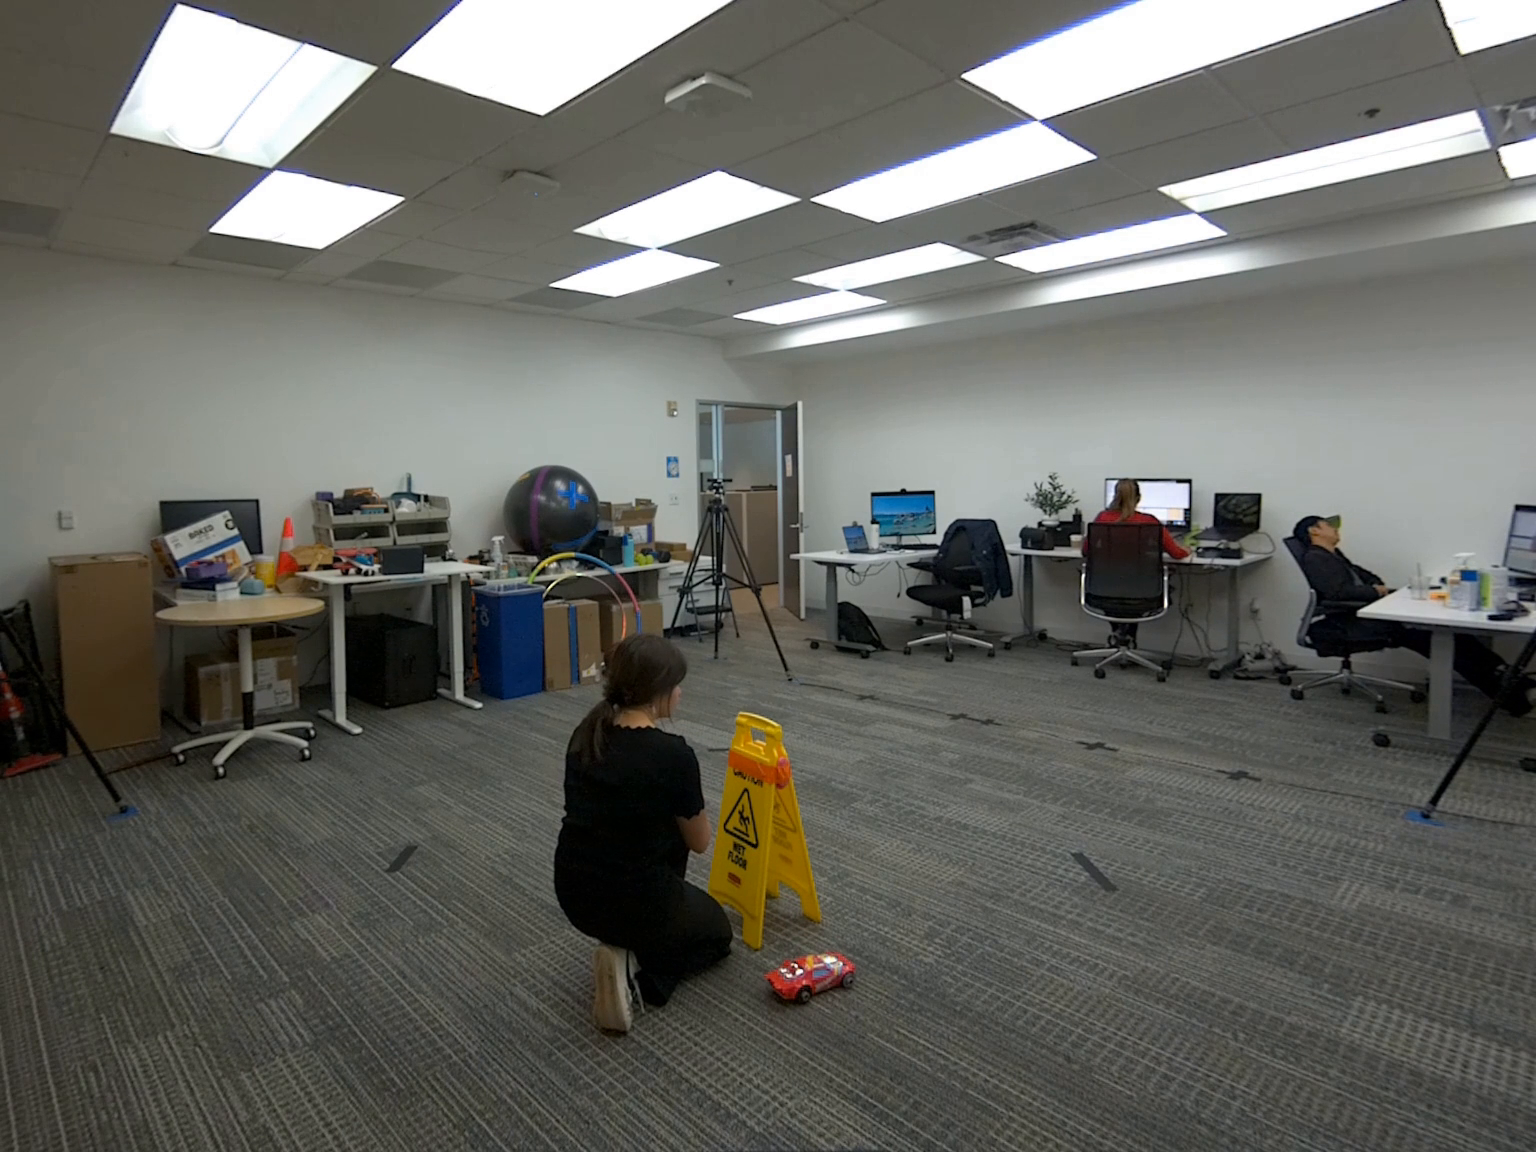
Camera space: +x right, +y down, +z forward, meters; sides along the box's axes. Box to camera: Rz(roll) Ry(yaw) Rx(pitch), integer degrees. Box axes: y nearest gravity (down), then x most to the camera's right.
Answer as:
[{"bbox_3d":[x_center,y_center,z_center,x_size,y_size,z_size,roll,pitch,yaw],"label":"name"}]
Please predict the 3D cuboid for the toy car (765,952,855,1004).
[{"bbox_3d":[0.108,1.095,2.343,0.248,0.083,0.134,7,2,-28],"label":"toy car"}]
